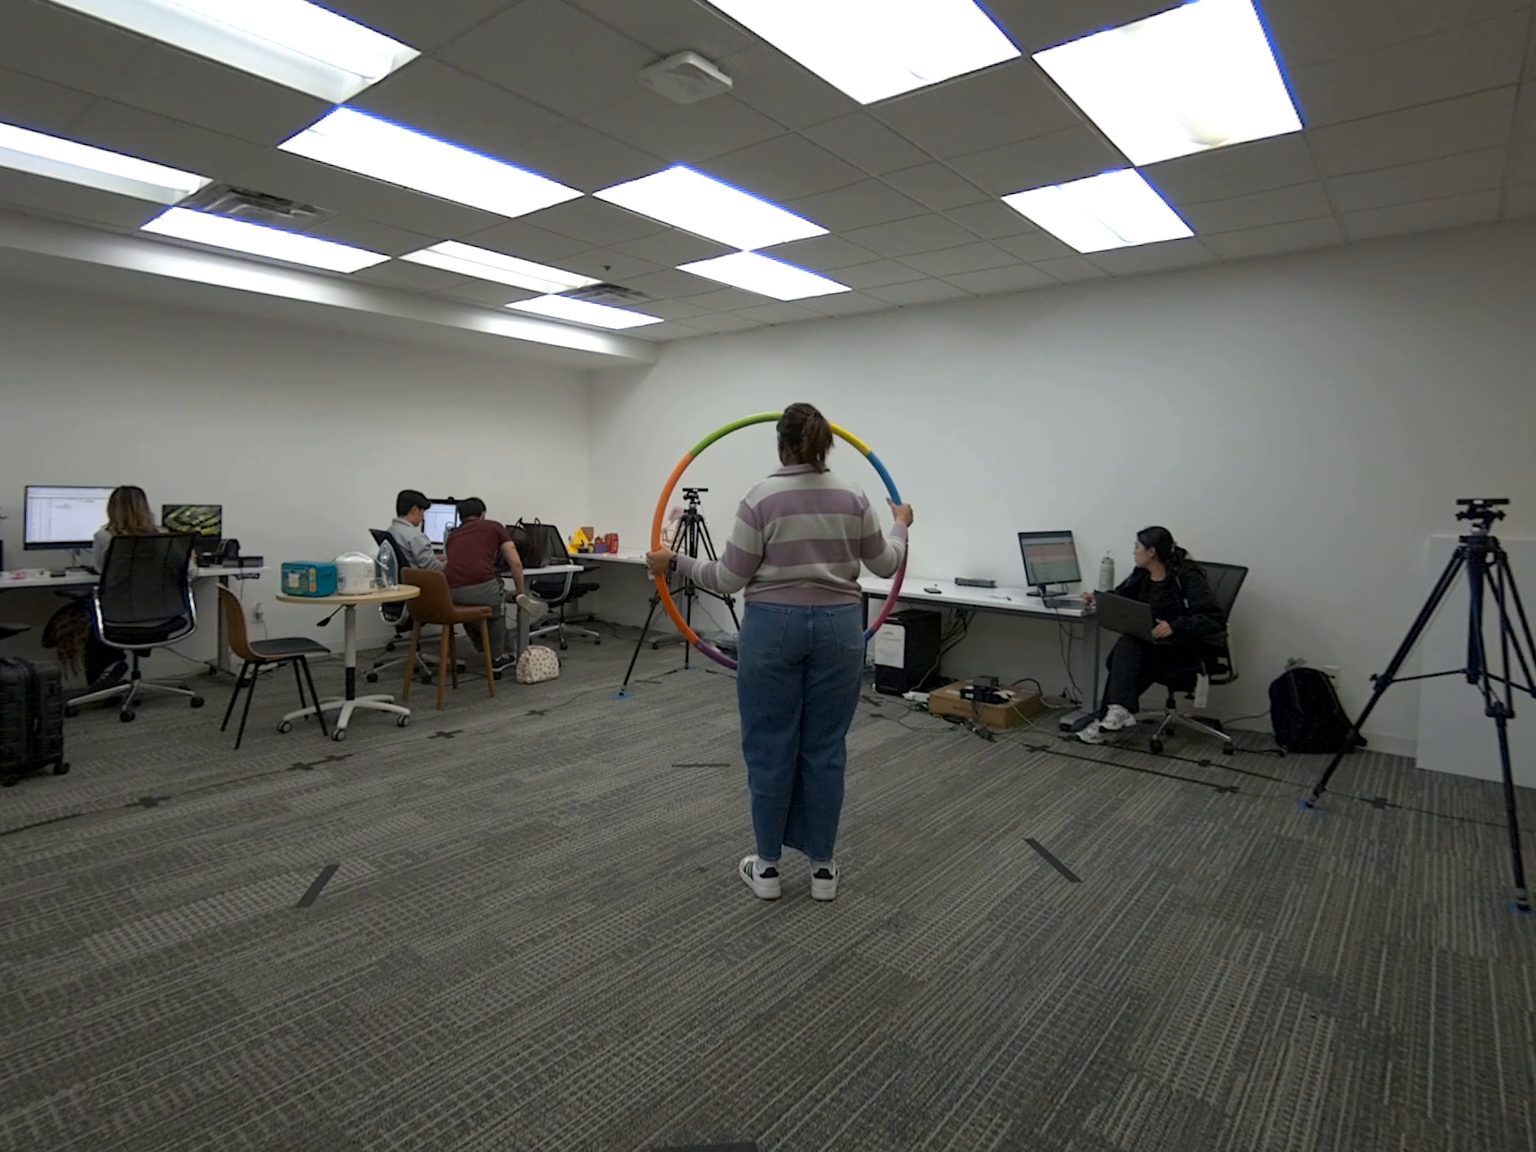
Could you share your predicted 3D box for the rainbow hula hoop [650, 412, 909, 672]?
[{"bbox_3d":[0.041,-0.118,3.156,0.969,0.976,0.036,0,2,-9],"label":"rainbow hula hoop"}]
